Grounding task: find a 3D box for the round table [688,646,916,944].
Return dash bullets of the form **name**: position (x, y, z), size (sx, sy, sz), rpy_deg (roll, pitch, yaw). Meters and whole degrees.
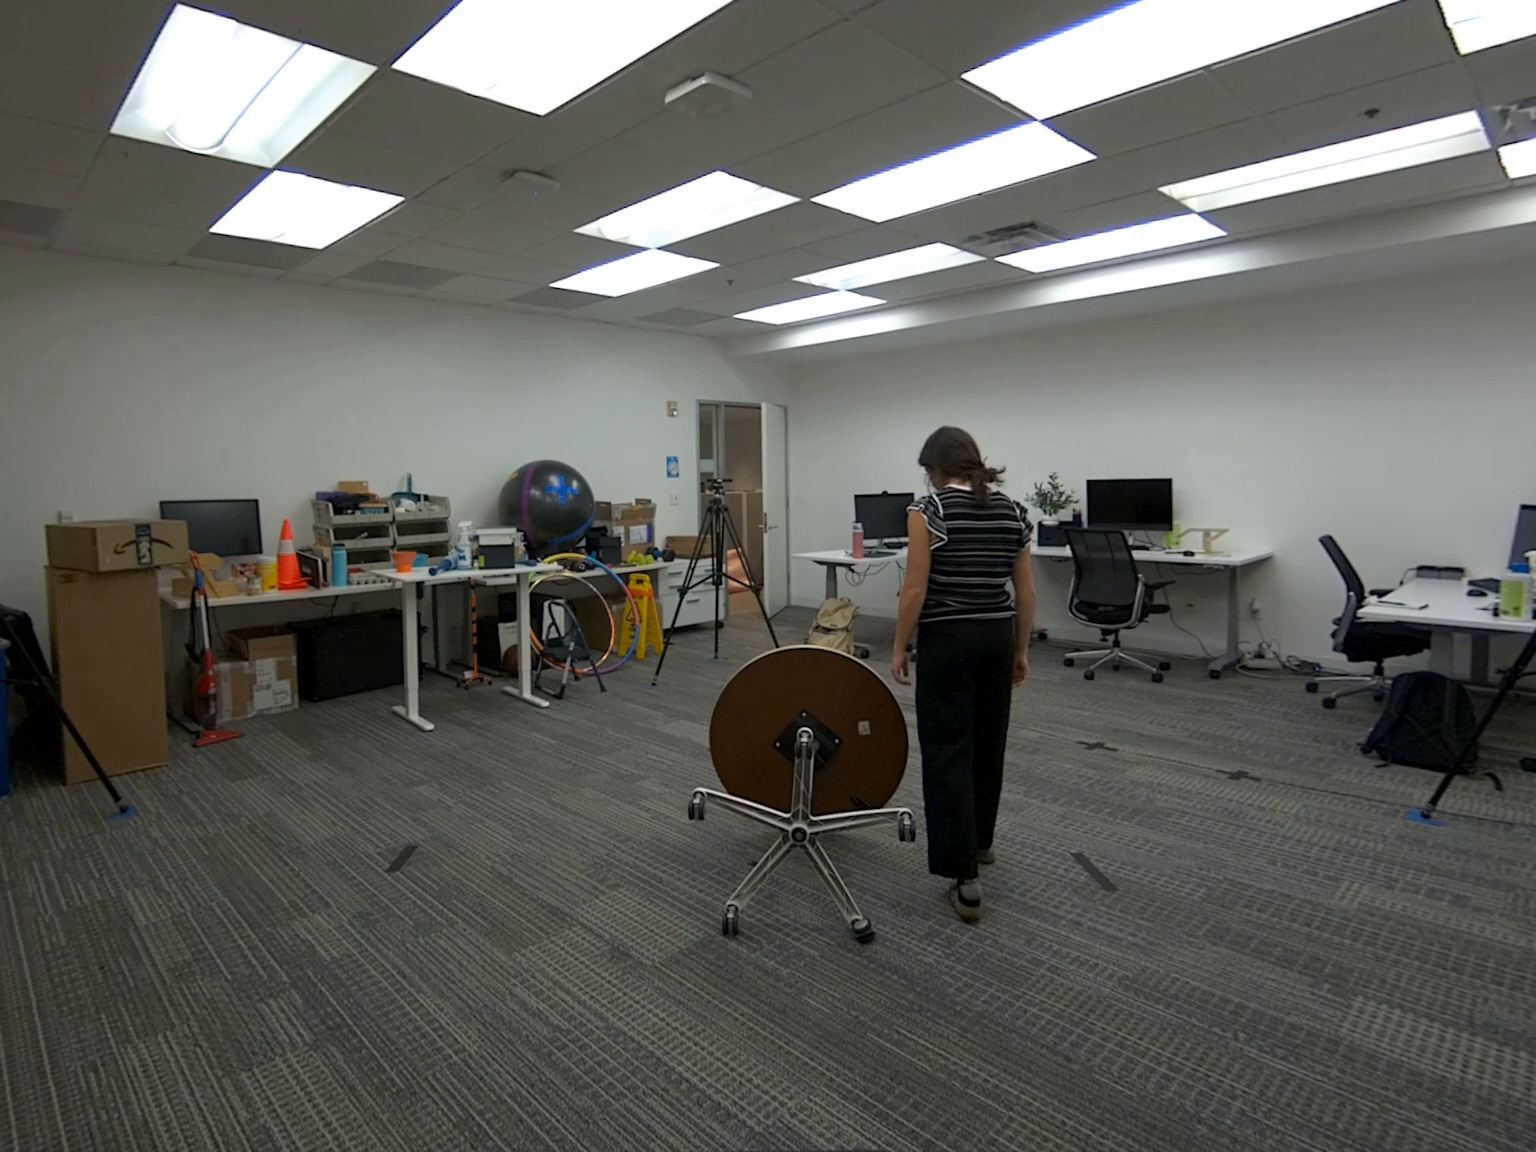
- **round table**: position (0.128, 0.726, 2.914), size (0.791, 0.777, 0.789), rpy_deg (0, 11, 7)
